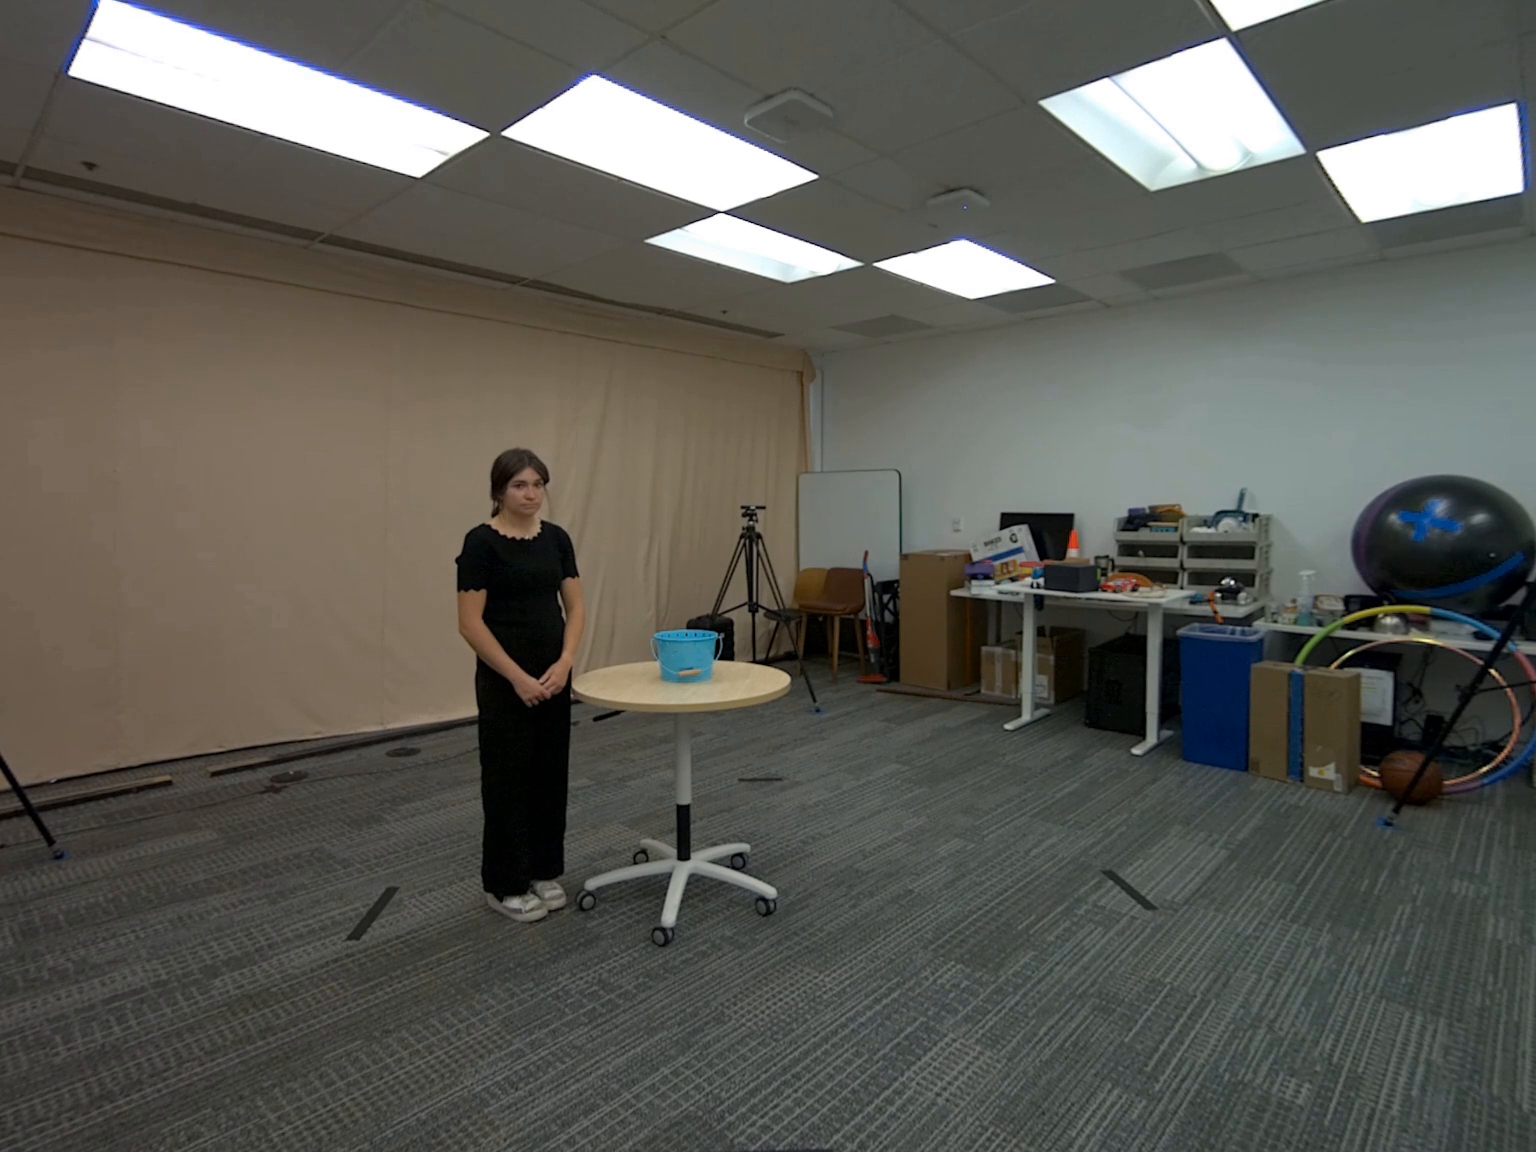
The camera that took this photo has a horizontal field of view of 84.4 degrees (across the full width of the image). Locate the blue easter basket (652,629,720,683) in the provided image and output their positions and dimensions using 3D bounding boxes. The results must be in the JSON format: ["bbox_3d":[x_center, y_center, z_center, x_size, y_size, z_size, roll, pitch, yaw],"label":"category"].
[{"bbox_3d":[-0.294,0.289,2.988,0.243,0.155,0.244,-3,5,-2],"label":"blue easter basket"}]
